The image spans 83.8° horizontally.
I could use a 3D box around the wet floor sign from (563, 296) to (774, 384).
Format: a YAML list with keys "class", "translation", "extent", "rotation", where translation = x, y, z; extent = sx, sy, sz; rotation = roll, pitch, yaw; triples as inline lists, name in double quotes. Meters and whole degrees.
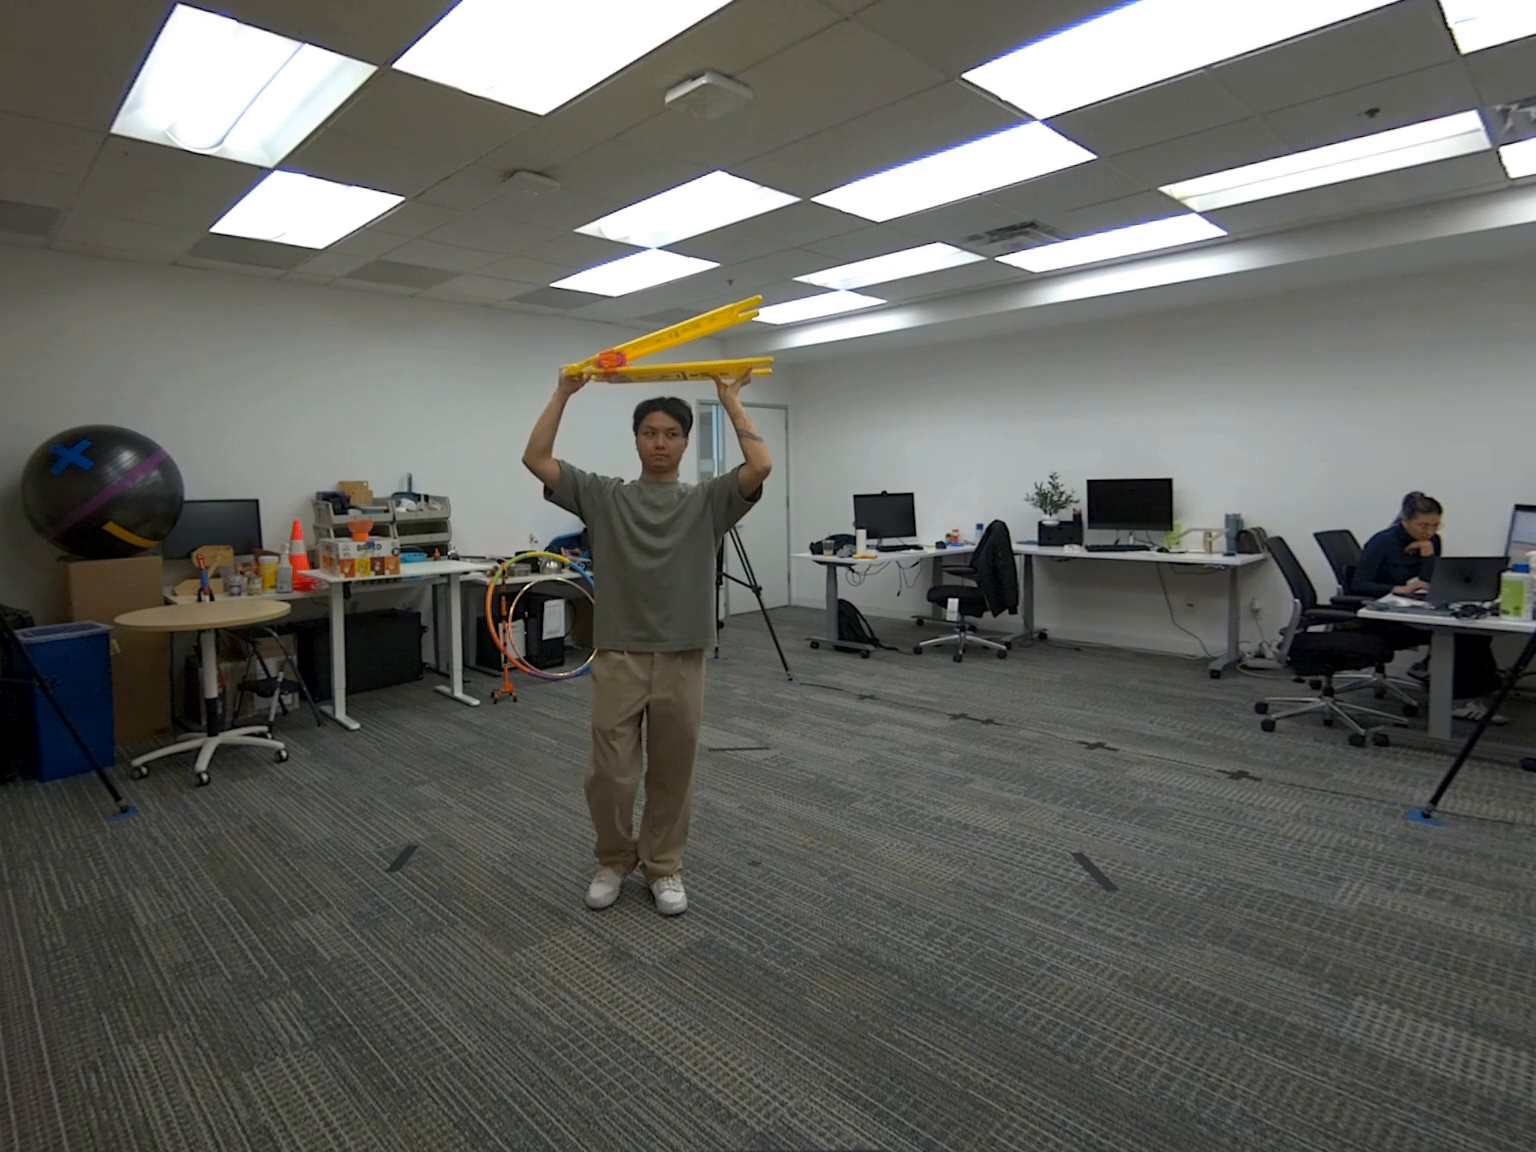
- class: "wet floor sign"
  translation: [-0.328, -0.714, 2.777]
  extent: [0.646, 0.289, 0.283]
  rotation: [-10, 4, -1]
